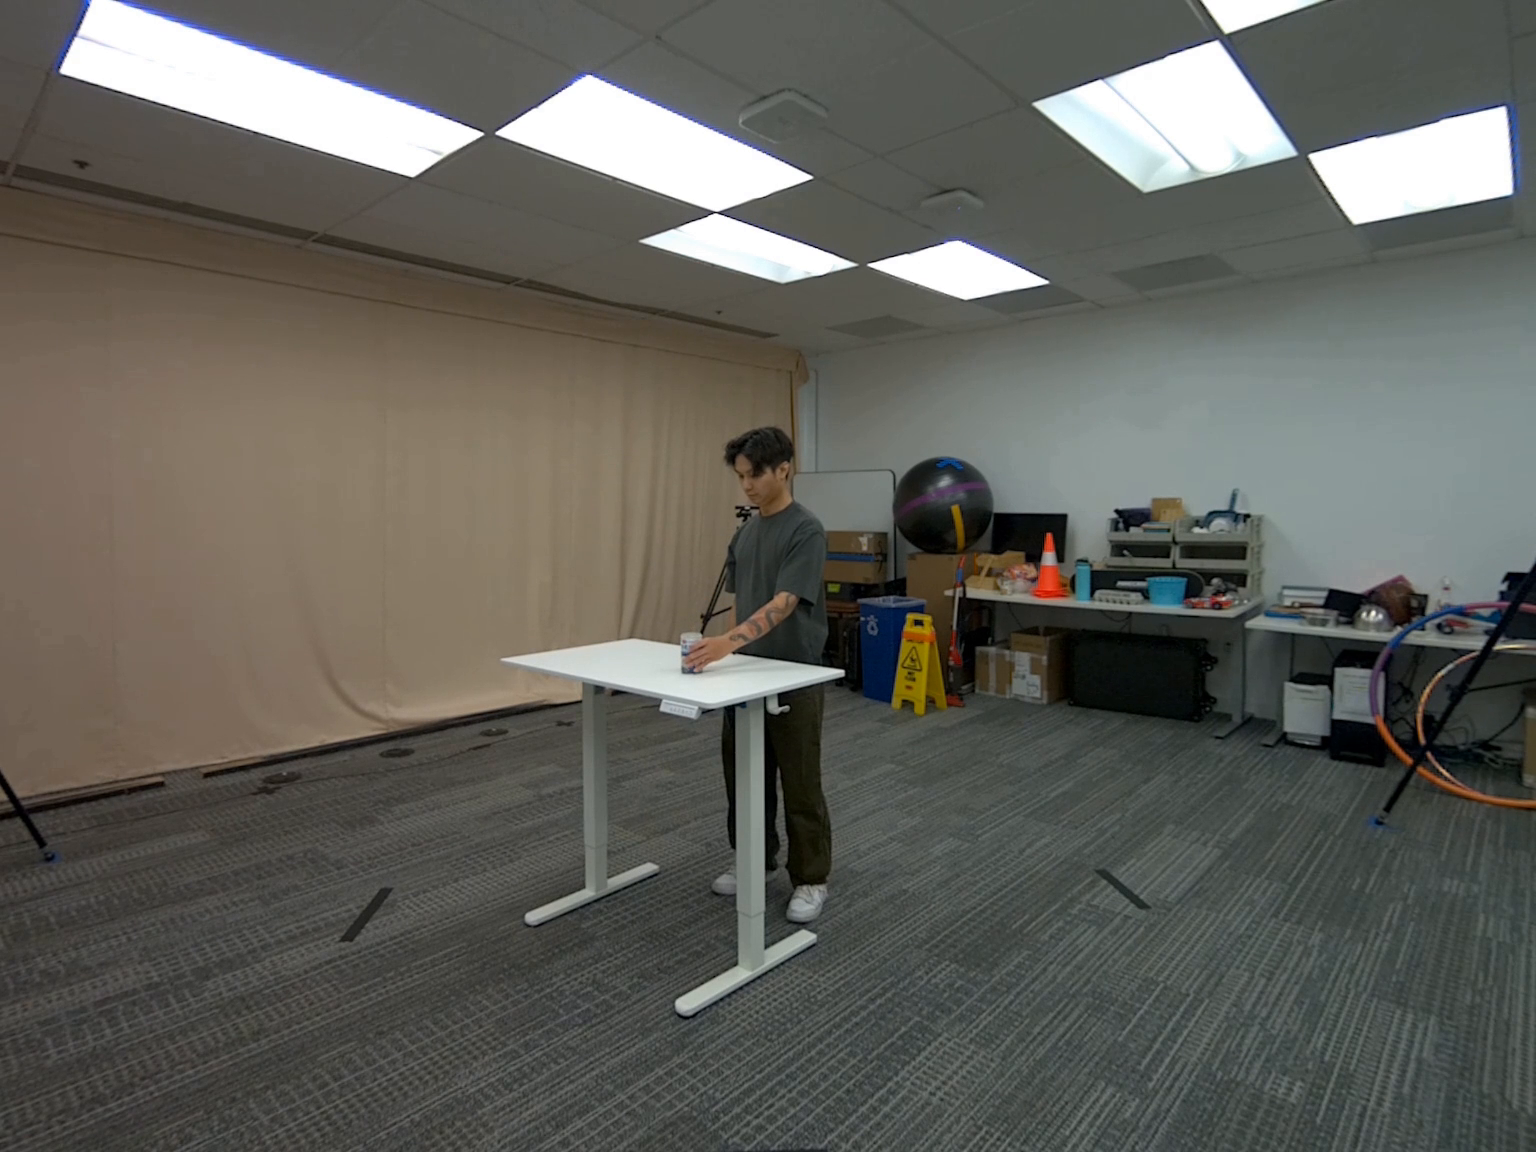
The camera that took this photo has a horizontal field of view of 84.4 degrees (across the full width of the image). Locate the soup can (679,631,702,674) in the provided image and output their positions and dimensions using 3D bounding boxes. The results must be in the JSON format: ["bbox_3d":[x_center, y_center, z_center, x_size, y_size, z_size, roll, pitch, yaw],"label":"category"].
[{"bbox_3d":[-0.232,0.239,2.596,0.067,0.121,0.067,0,4,-2],"label":"soup can"}]
